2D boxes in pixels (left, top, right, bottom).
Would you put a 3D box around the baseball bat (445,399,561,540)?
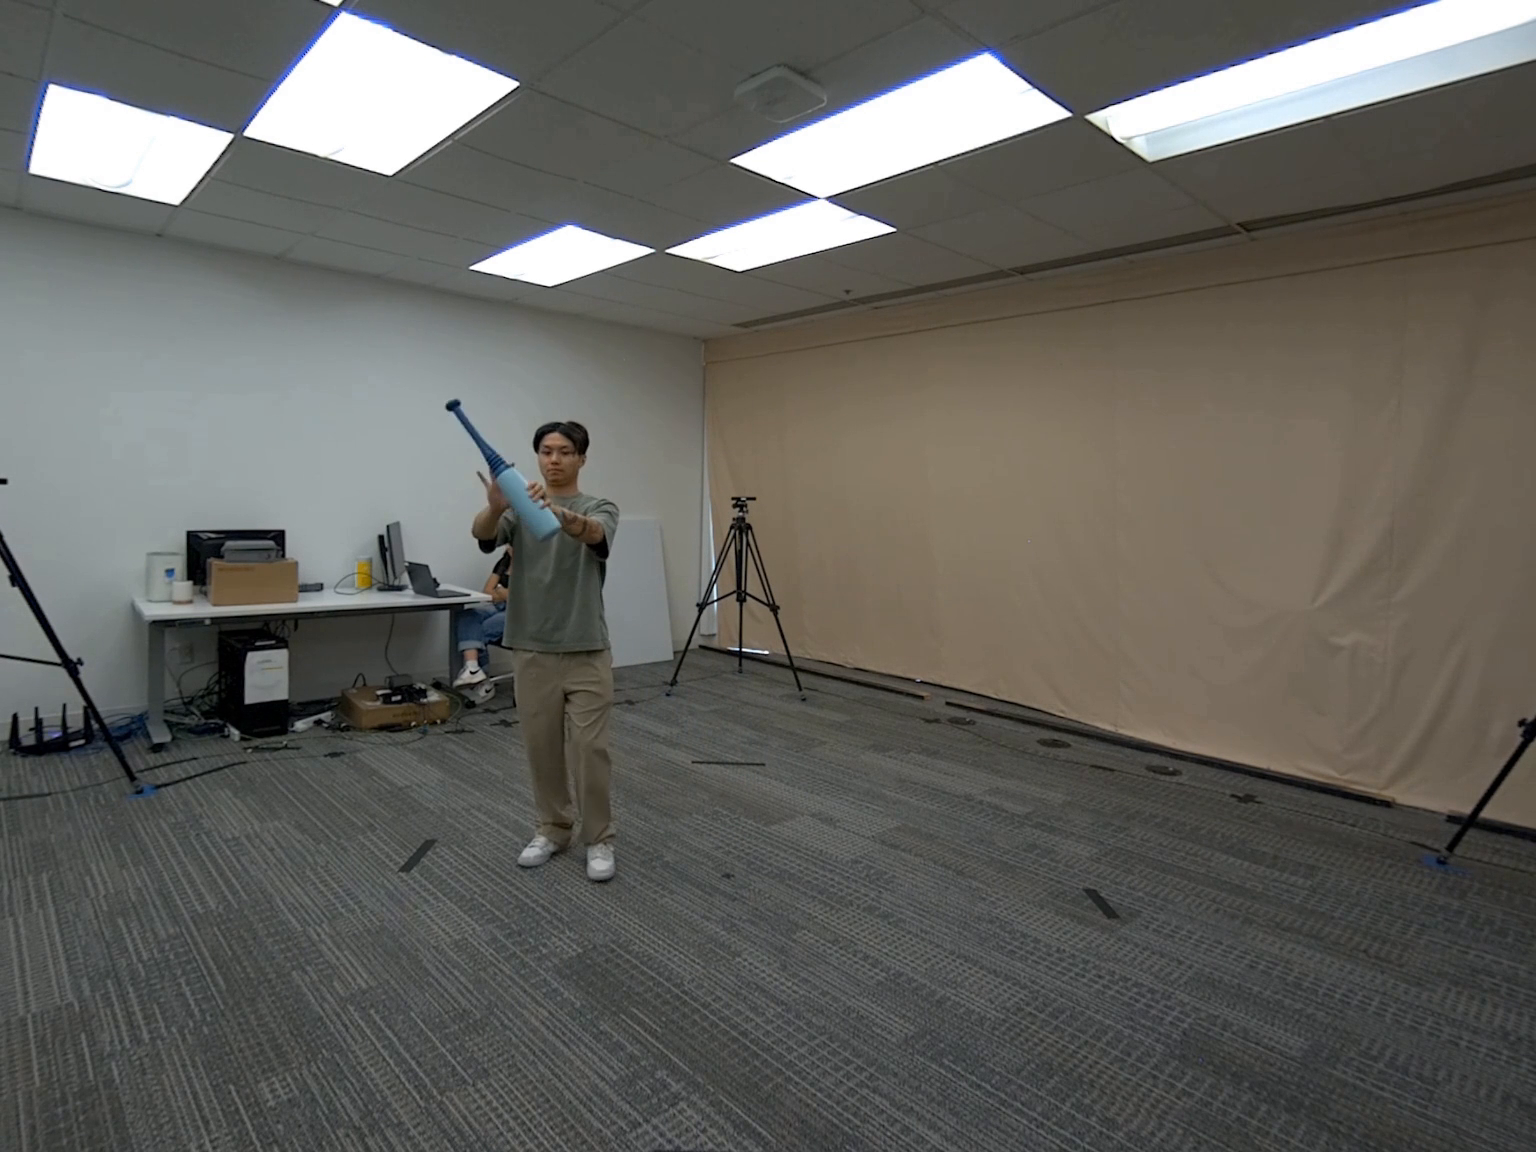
[{"bbox_3d":[-0.864,-0.341,2.662,0.089,0.545,0.089,-37,-3,-3],"label":"baseball bat"}]
